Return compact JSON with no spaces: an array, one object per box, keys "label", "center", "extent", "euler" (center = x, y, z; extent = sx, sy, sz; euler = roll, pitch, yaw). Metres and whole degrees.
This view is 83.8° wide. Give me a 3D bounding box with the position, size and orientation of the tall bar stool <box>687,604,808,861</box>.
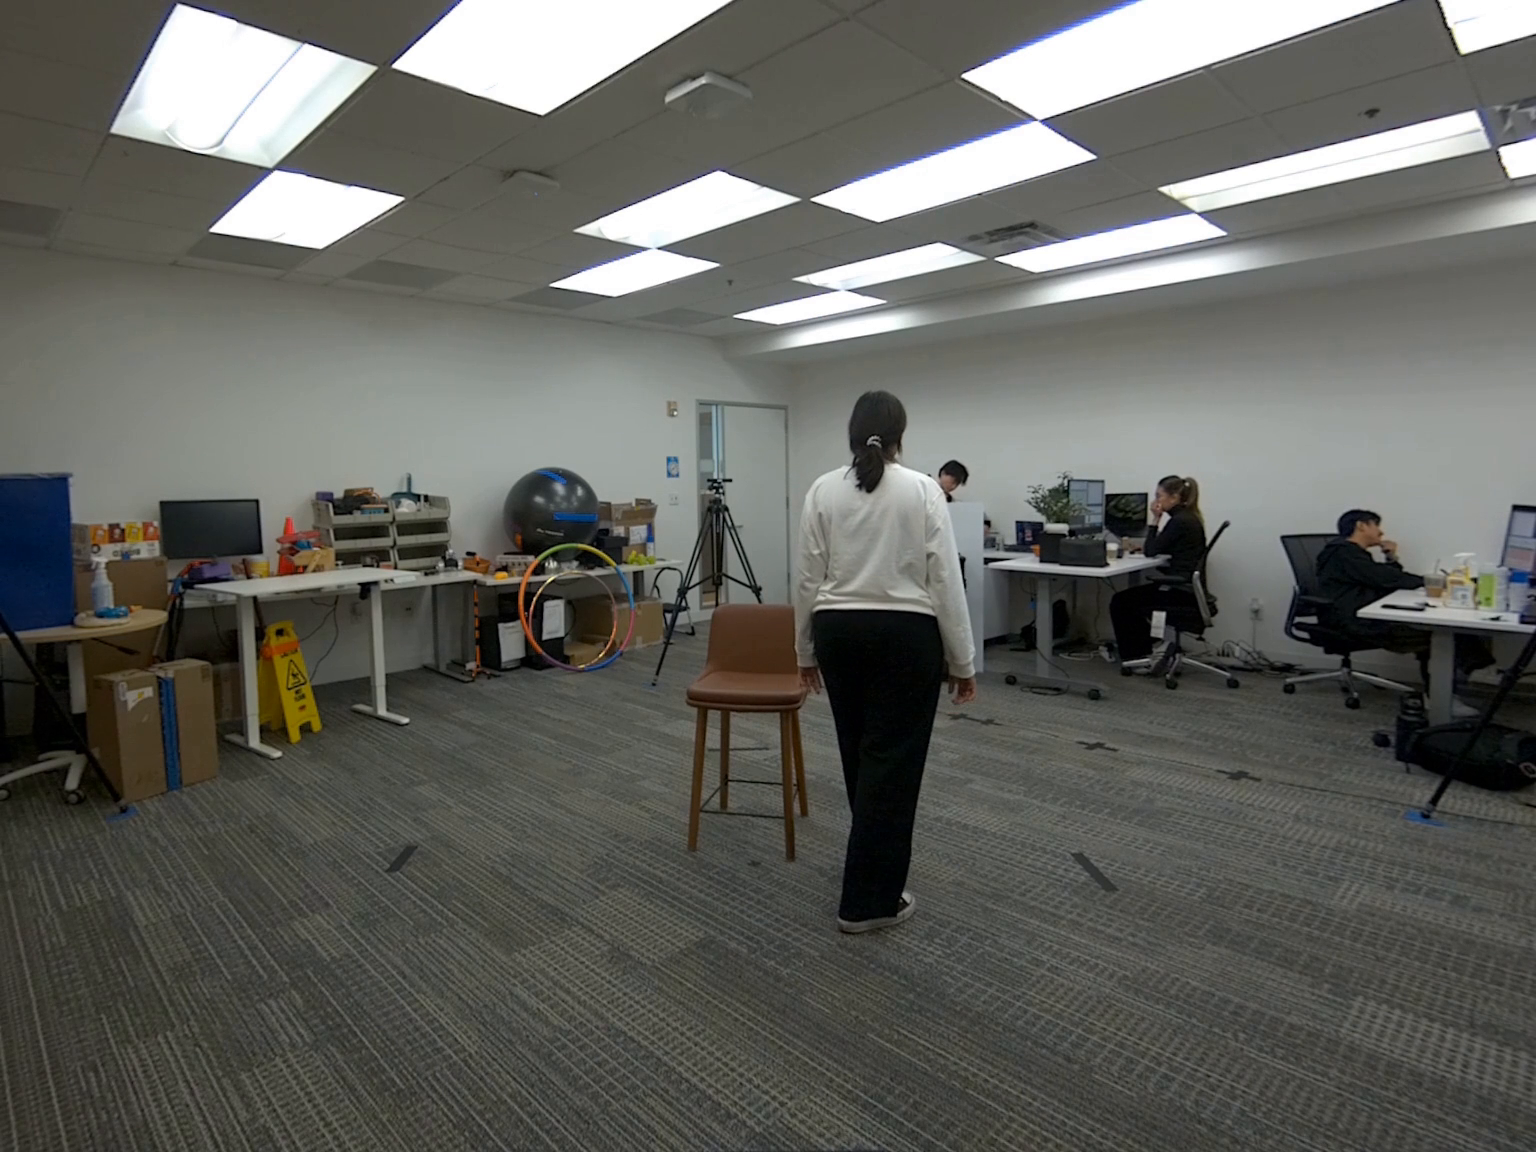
[{"label":"tall bar stool","center":[-0.066,0.582,3.368],"extent":[0.463,0.888,0.462],"euler":[0,2,14]}]
